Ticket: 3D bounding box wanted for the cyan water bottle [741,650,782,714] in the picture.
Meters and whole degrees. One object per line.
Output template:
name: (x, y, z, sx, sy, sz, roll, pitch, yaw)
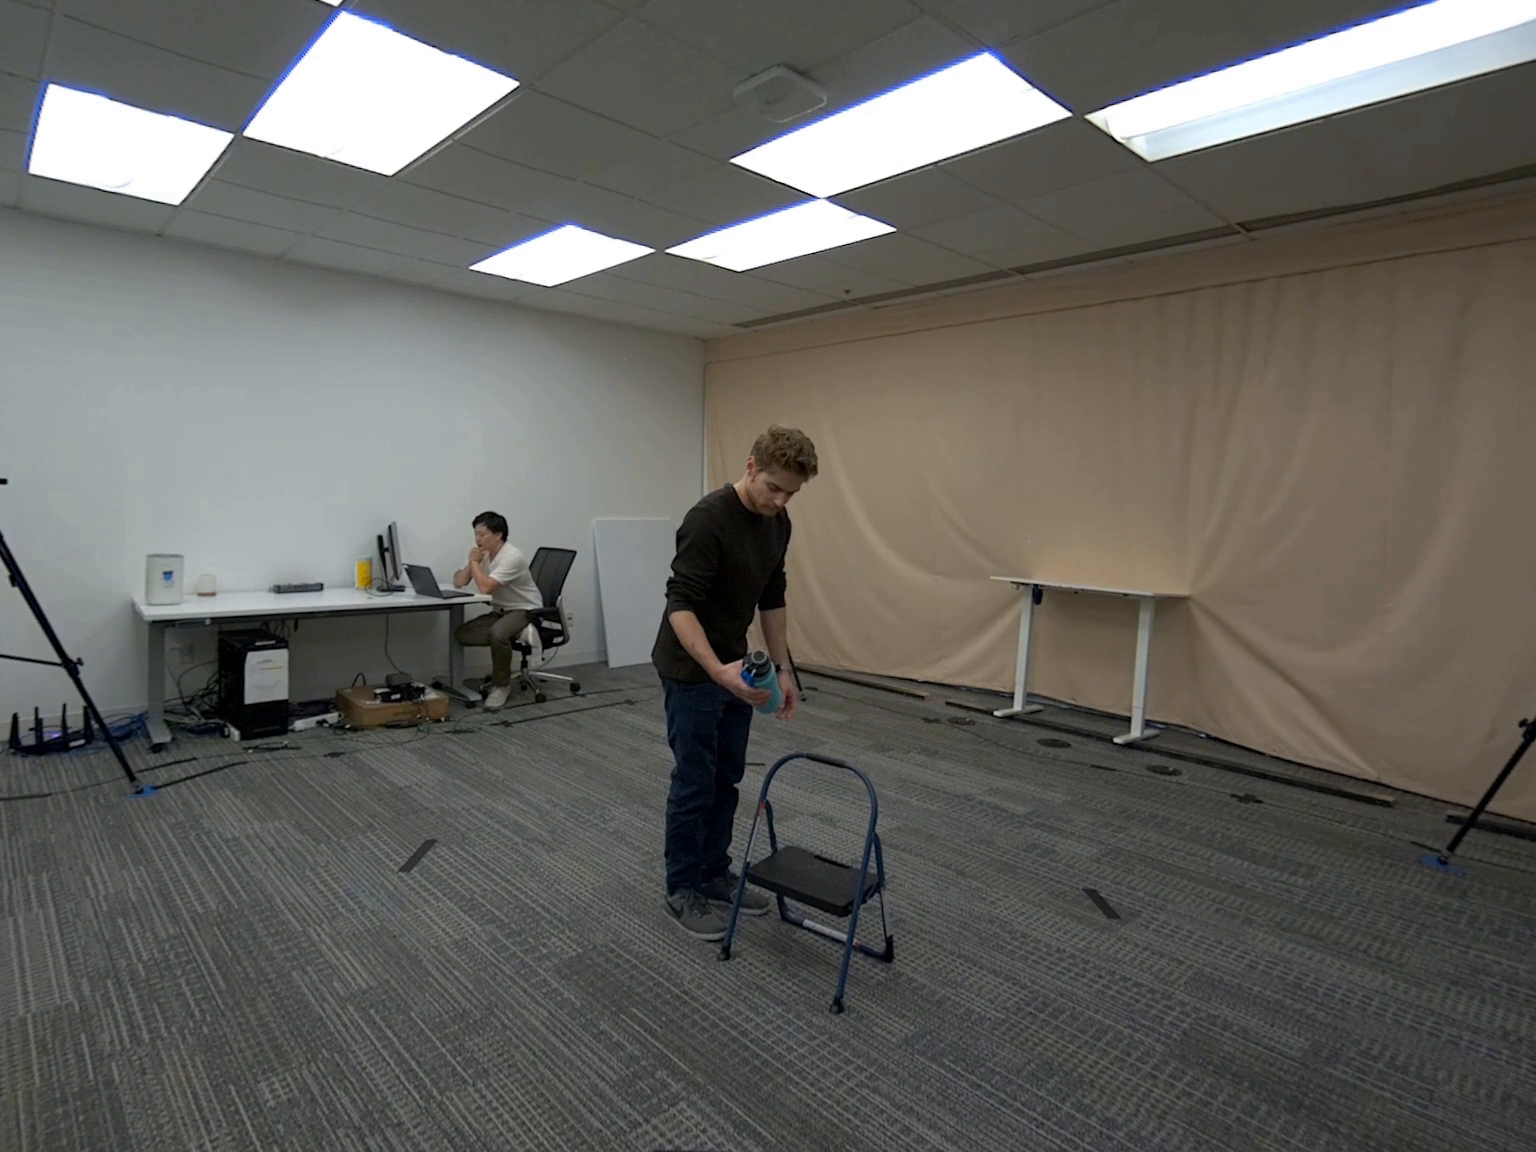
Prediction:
cyan water bottle: (-0.026, 0.303, 2.340, 0.093, 0.094, 0.277, 2, -25, 7)
